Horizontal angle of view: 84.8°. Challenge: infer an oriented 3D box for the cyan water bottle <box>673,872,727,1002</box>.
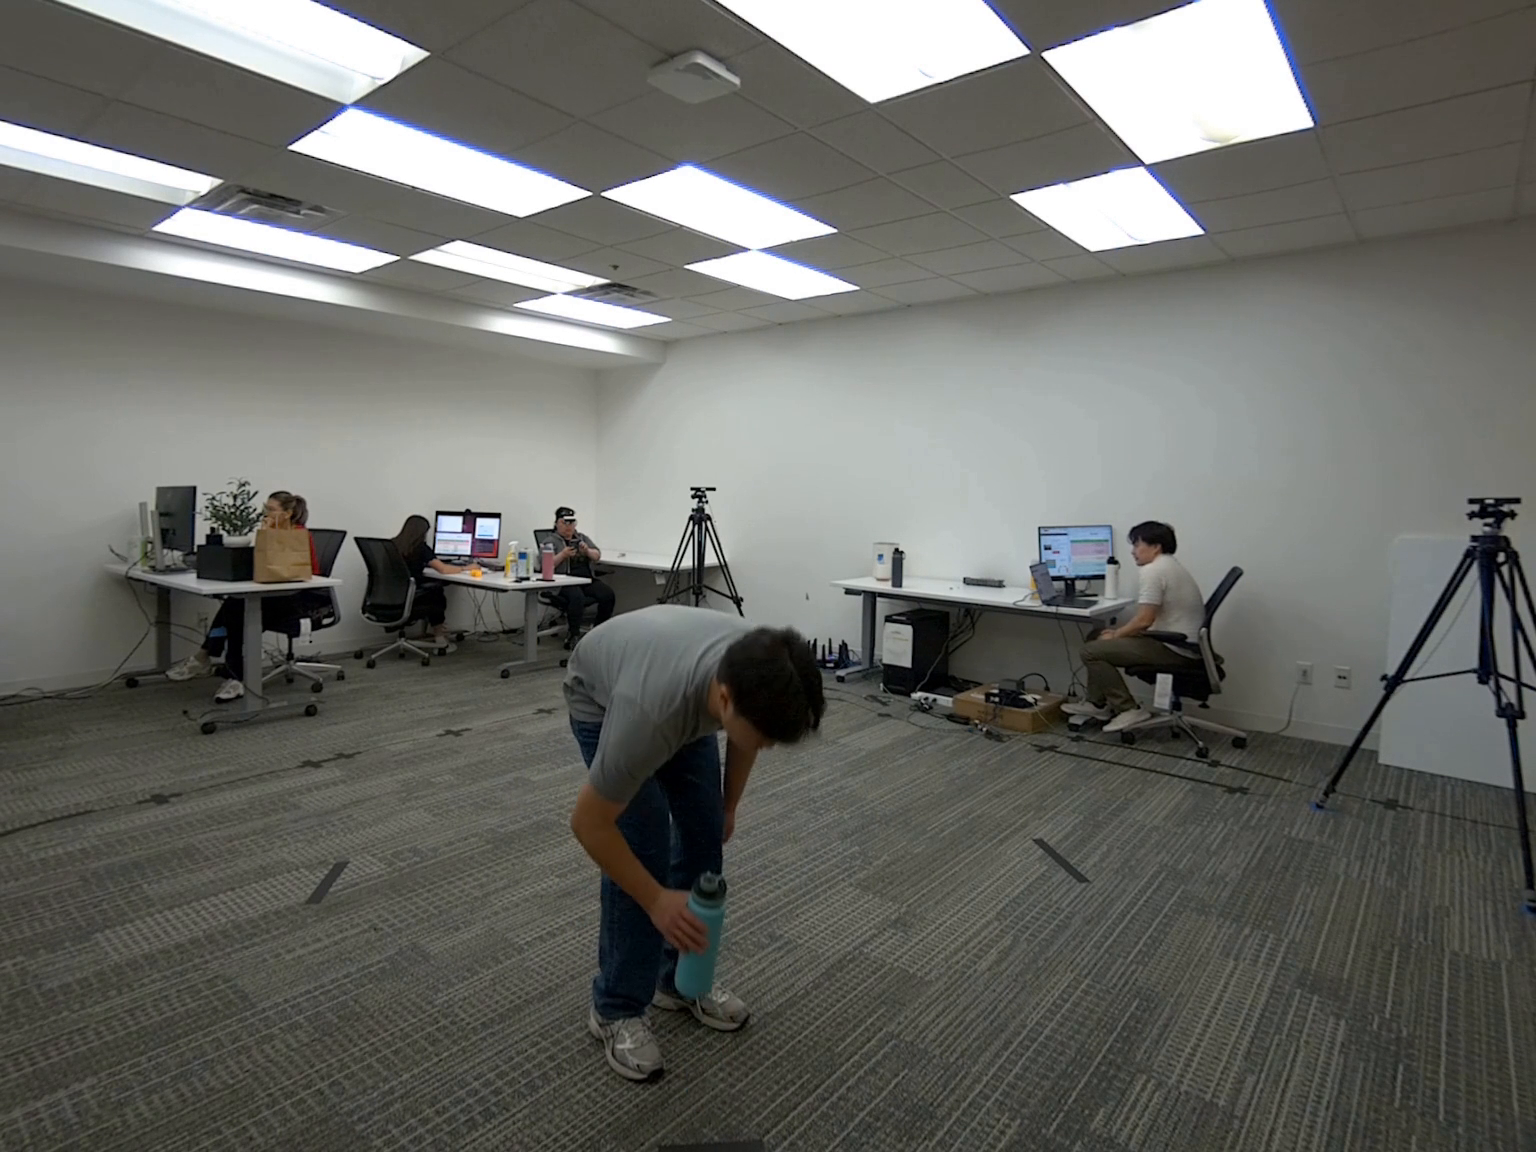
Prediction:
[{"bbox_3d":[-0.155,0.806,1.946,0.092,0.281,0.093,6,8,-3],"label":"cyan water bottle"}]
